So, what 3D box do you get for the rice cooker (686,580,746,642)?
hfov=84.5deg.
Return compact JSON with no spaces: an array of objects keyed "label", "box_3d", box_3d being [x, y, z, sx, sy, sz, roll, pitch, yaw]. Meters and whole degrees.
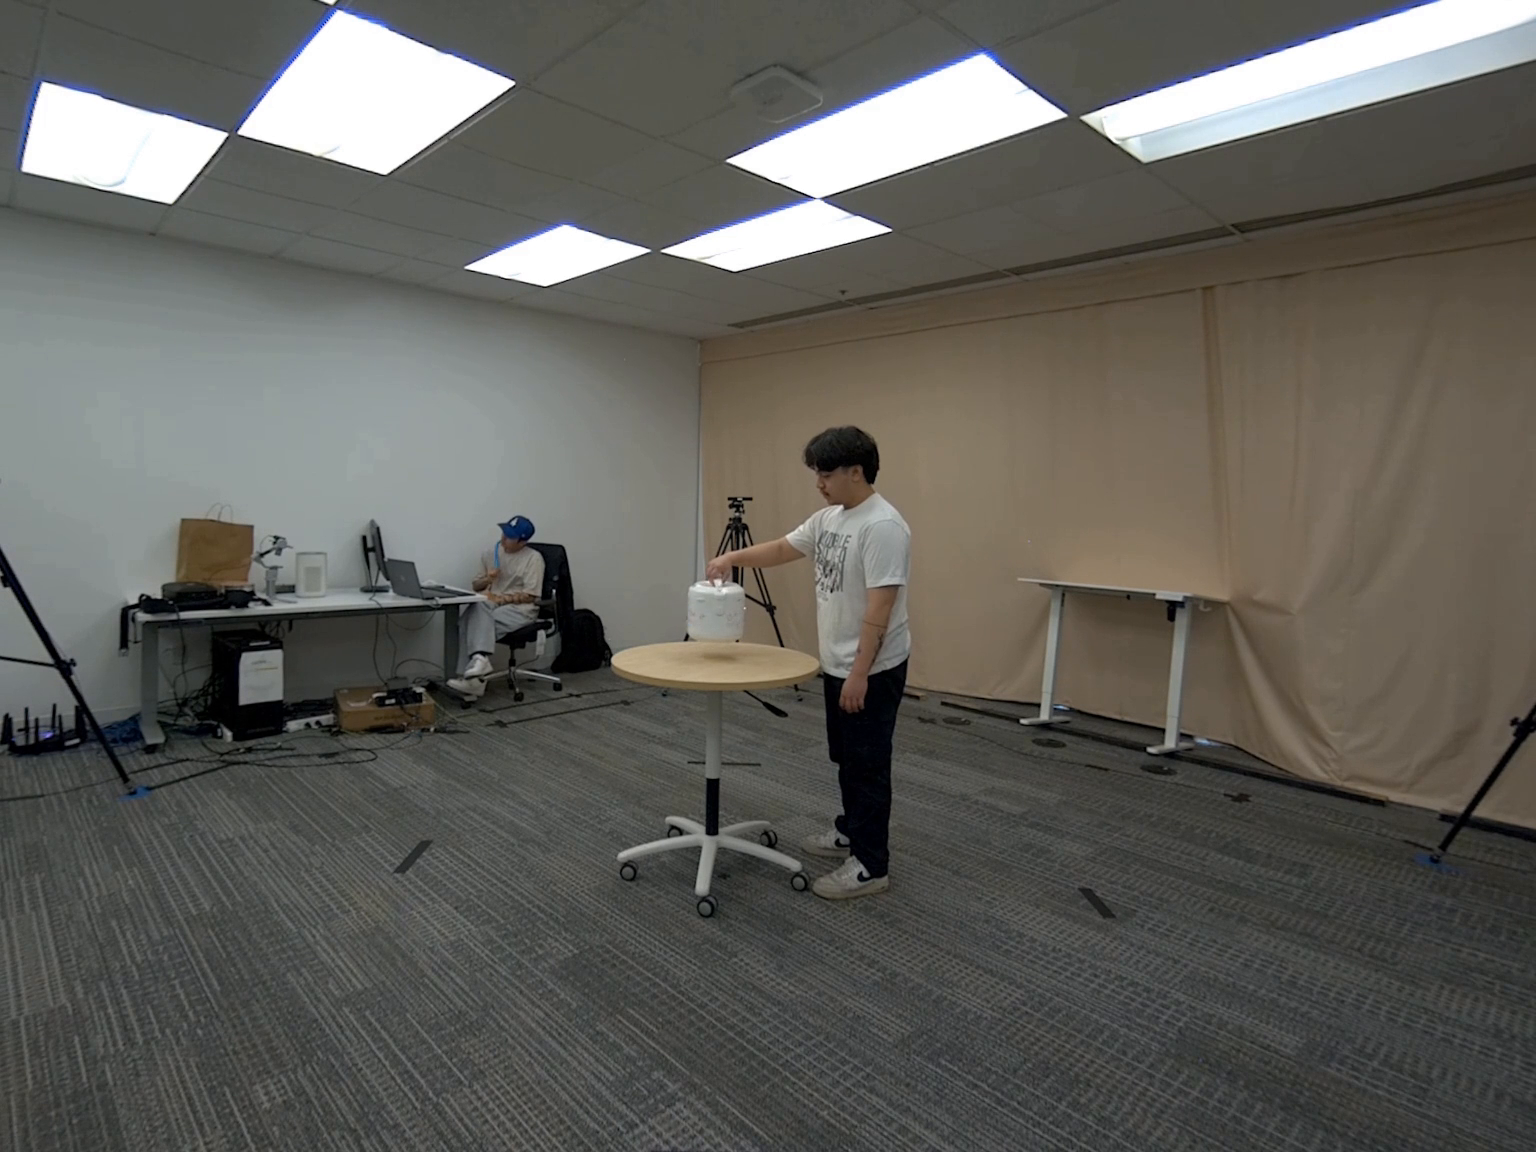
[{"label":"rice cooker","box_3d":[-0.197,0.116,3.145,0.216,0.232,0.222,0,7,-6]}]
